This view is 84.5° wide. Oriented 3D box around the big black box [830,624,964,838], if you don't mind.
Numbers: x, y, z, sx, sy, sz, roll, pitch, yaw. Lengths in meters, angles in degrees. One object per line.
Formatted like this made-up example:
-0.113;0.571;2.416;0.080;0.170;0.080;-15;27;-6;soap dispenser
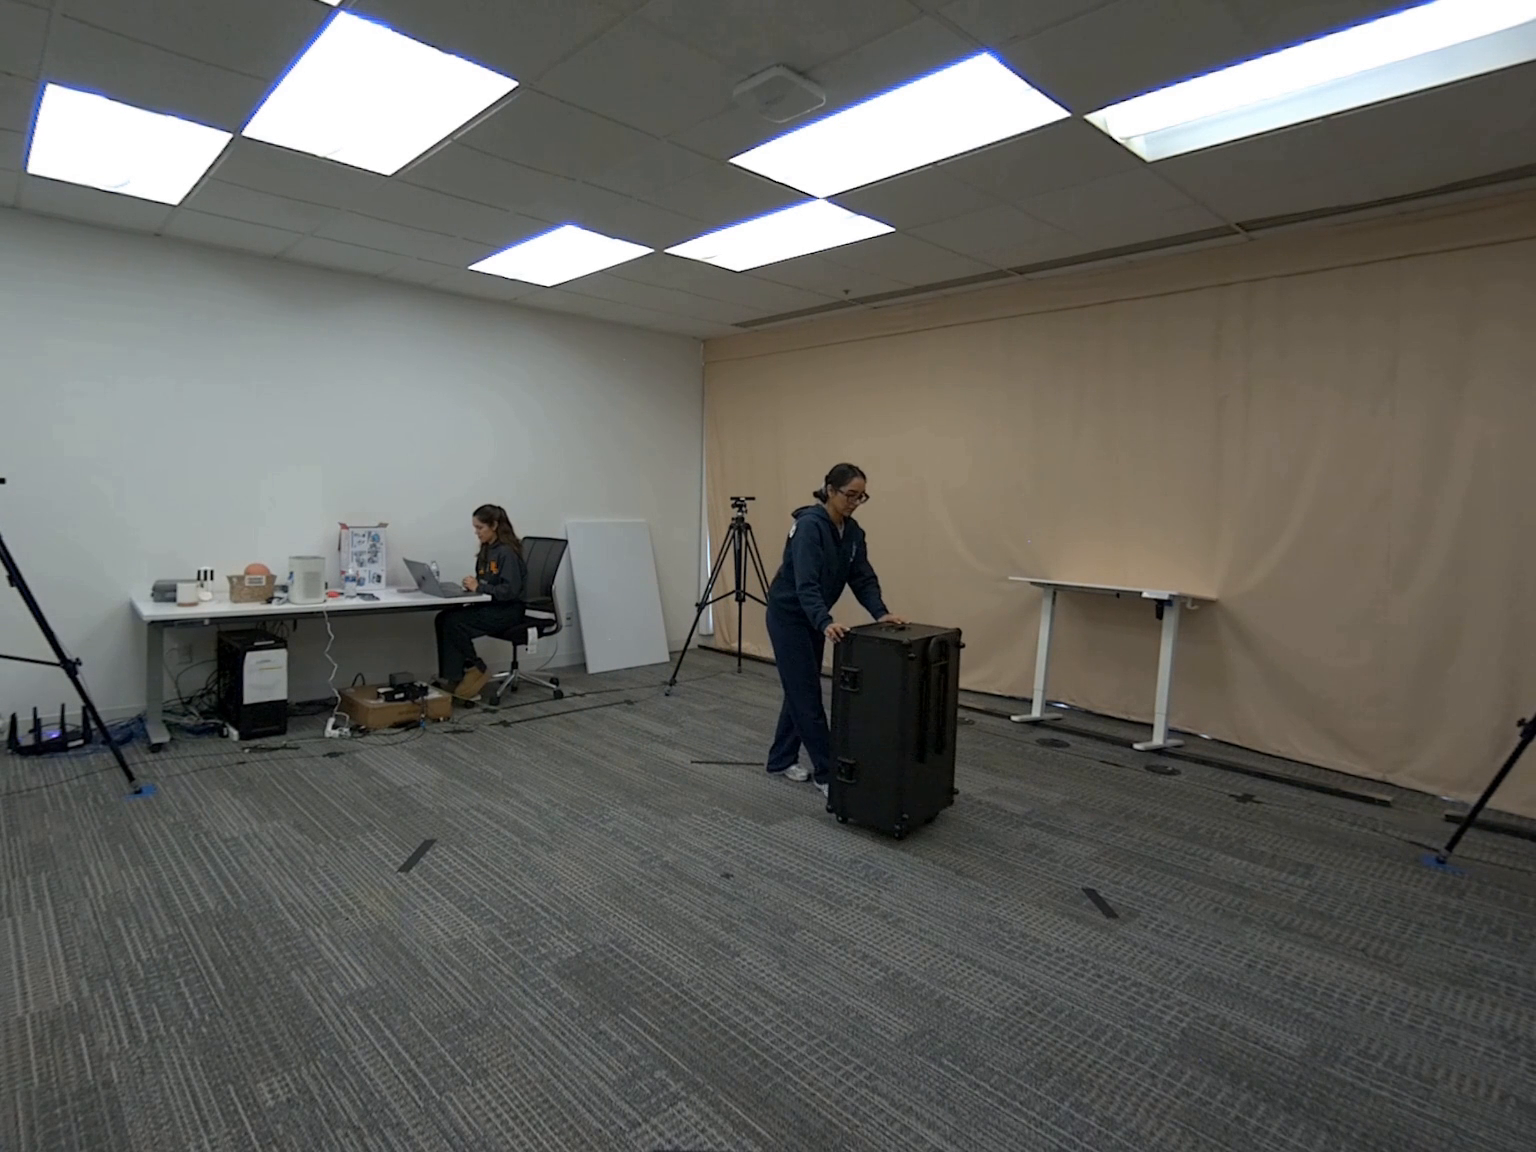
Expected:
0.550;0.651;3.638;0.406;0.858;0.510;6;6;39;big black box
